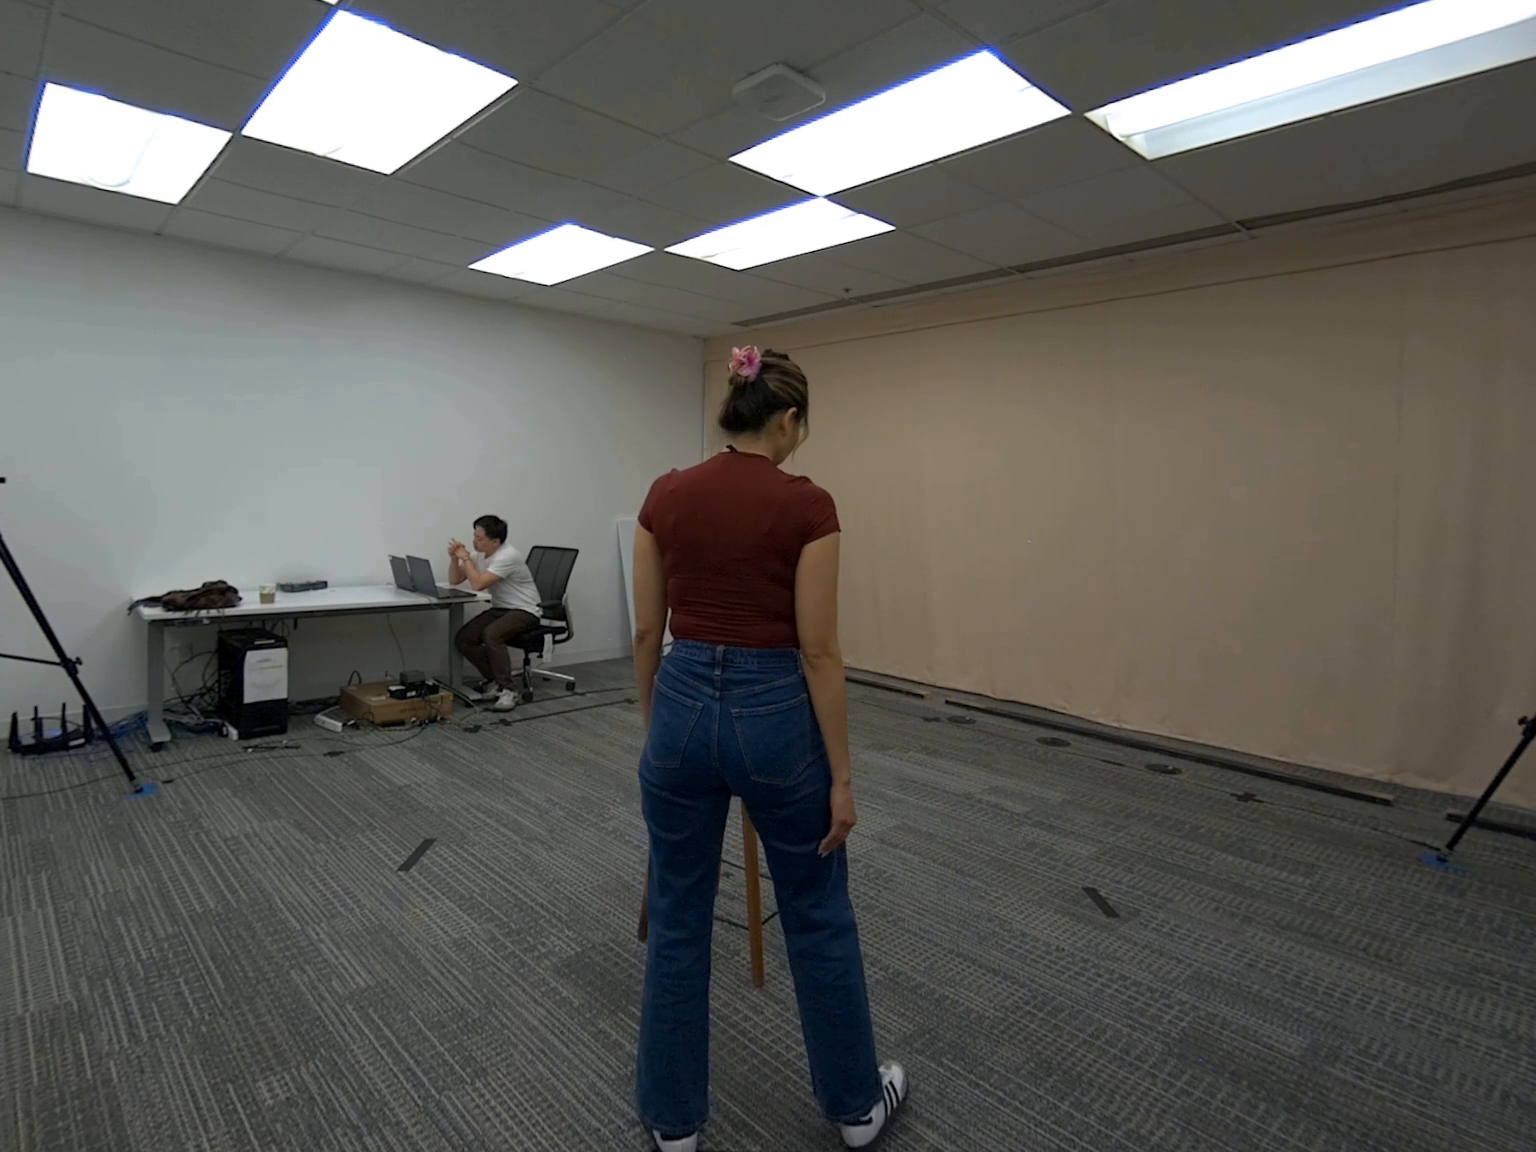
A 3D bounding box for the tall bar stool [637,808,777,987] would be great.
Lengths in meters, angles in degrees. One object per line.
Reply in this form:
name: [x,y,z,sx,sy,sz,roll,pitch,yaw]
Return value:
tall bar stool: [-0.105,0.716,2.639,0.479,0.886,0.447,6,6,34]
